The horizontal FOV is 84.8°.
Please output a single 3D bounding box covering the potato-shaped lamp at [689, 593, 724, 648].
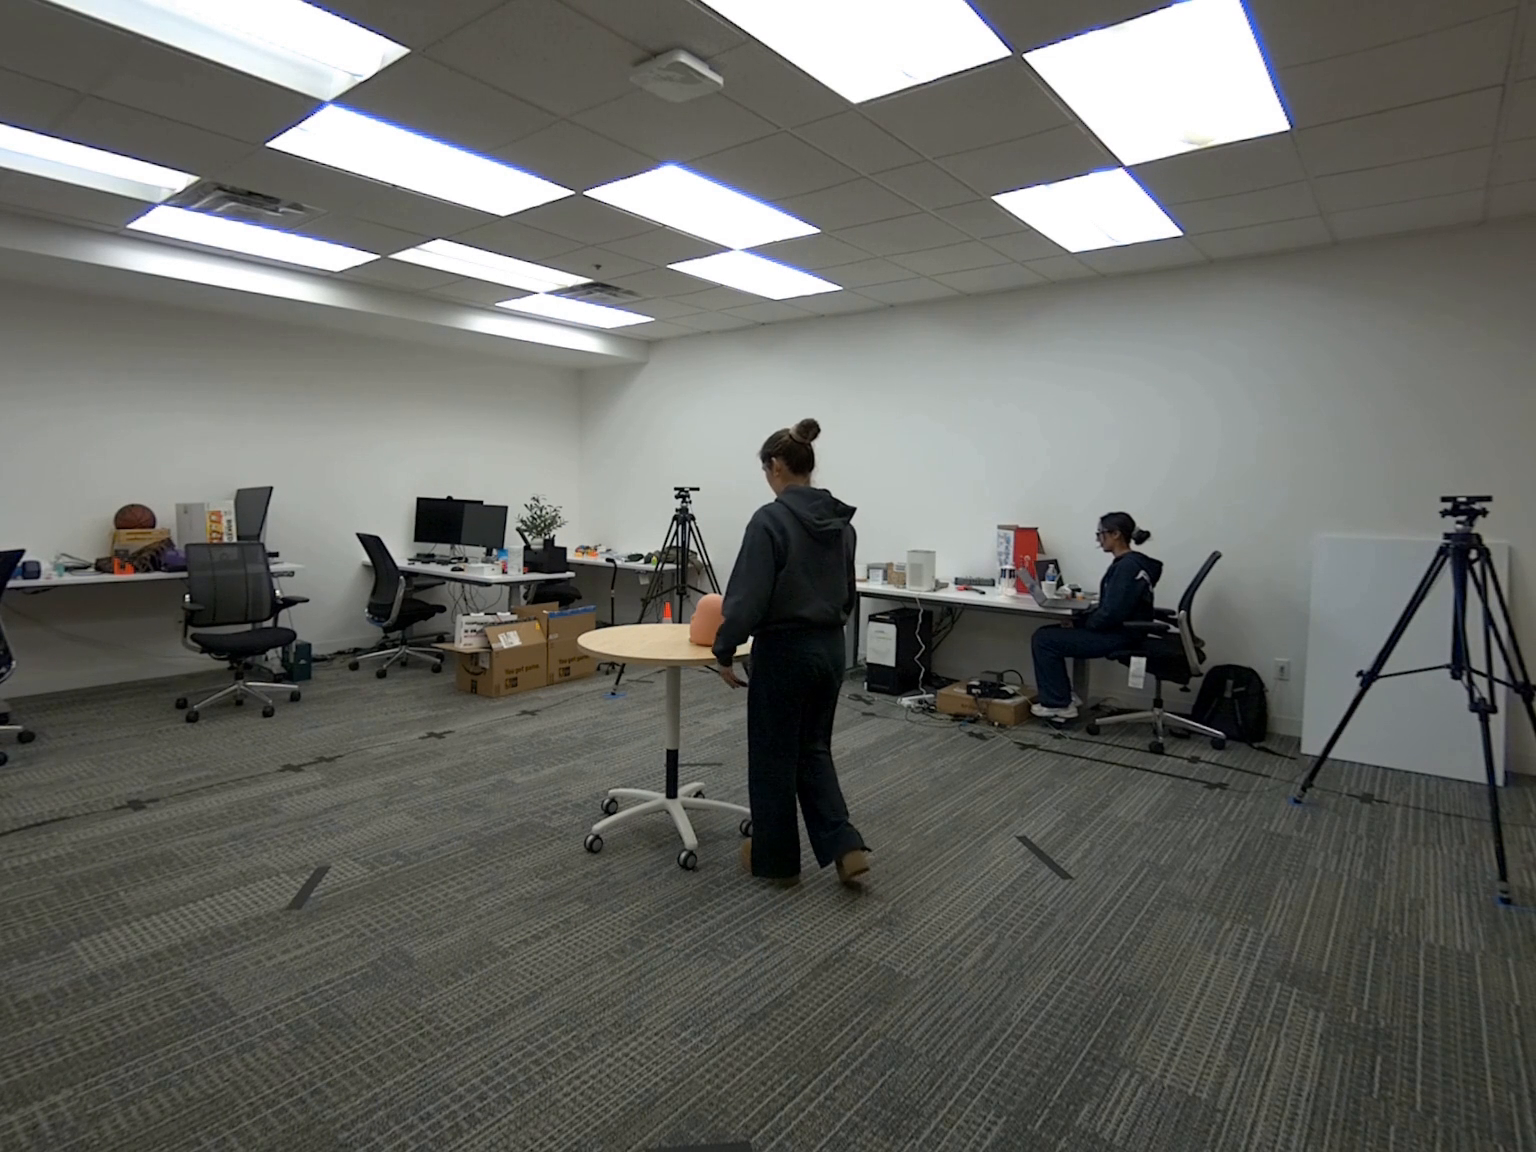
[{"bbox_3d":[-0.226,0.166,3.324,0.177,0.197,0.160,6,6,38],"label":"potato-shaped lamp"}]
